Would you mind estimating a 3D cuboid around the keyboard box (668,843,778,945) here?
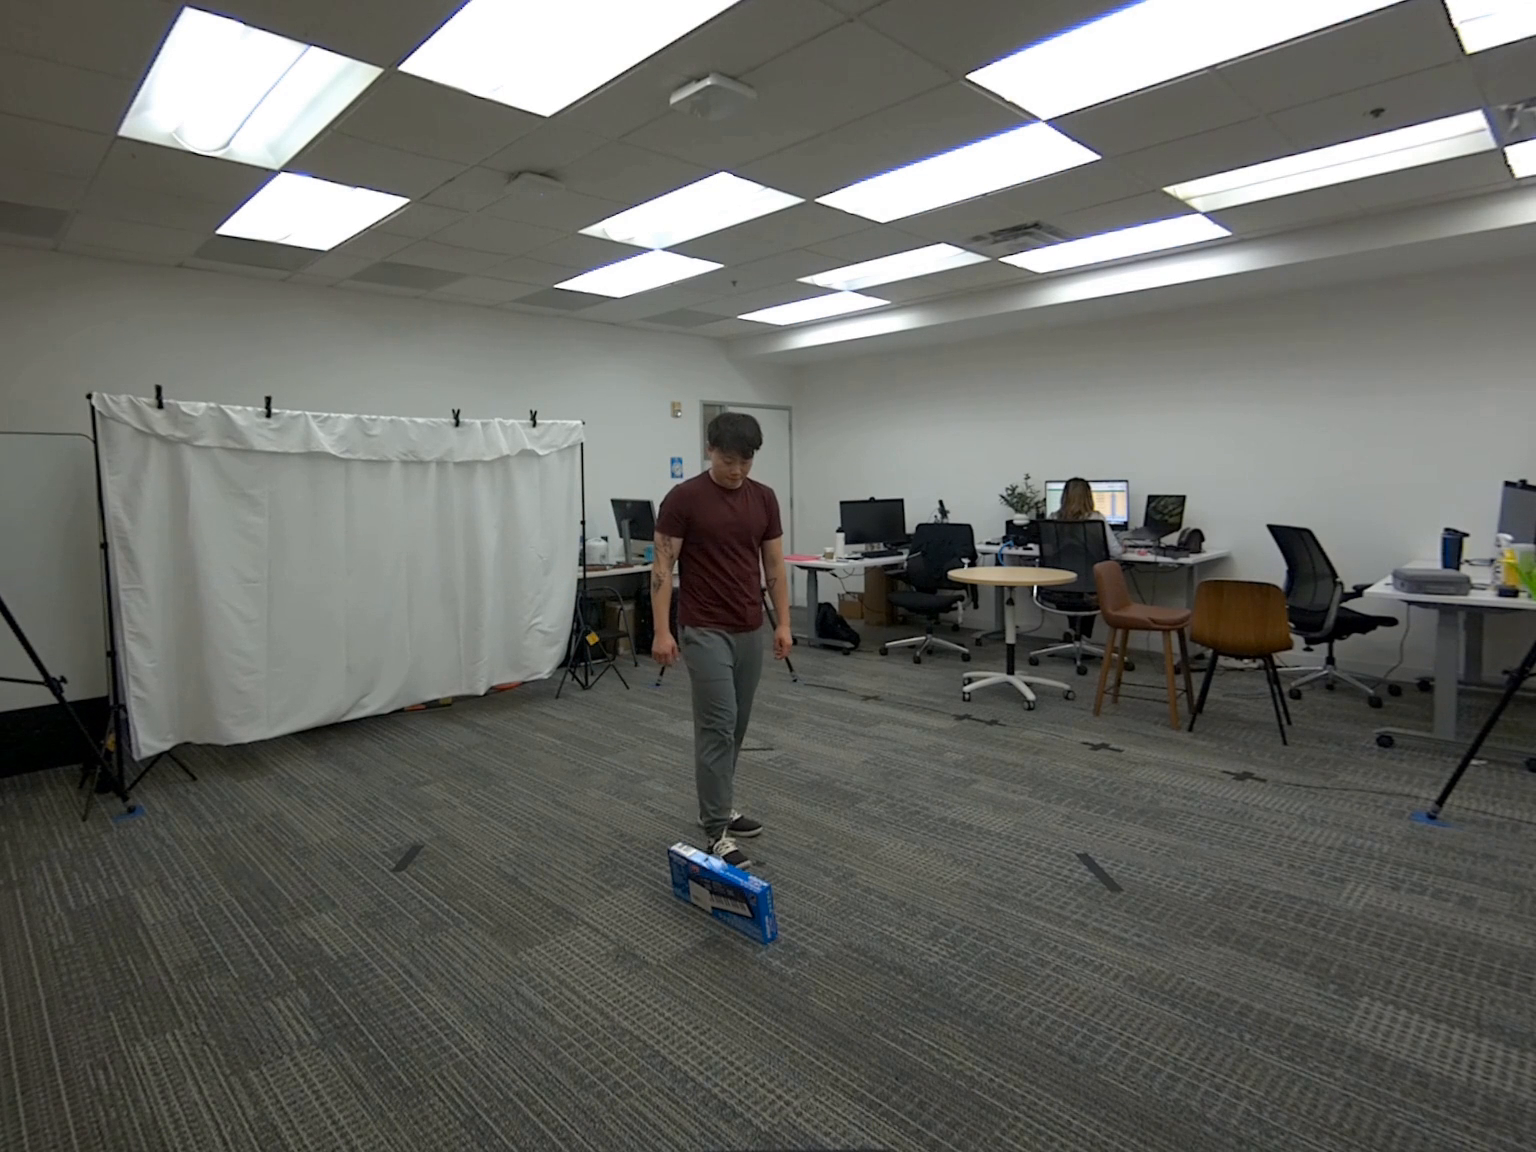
[{"bbox_3d":[-0.150,1.009,2.733,0.058,0.174,0.450,-16,14,-42],"label":"keyboard box"}]
